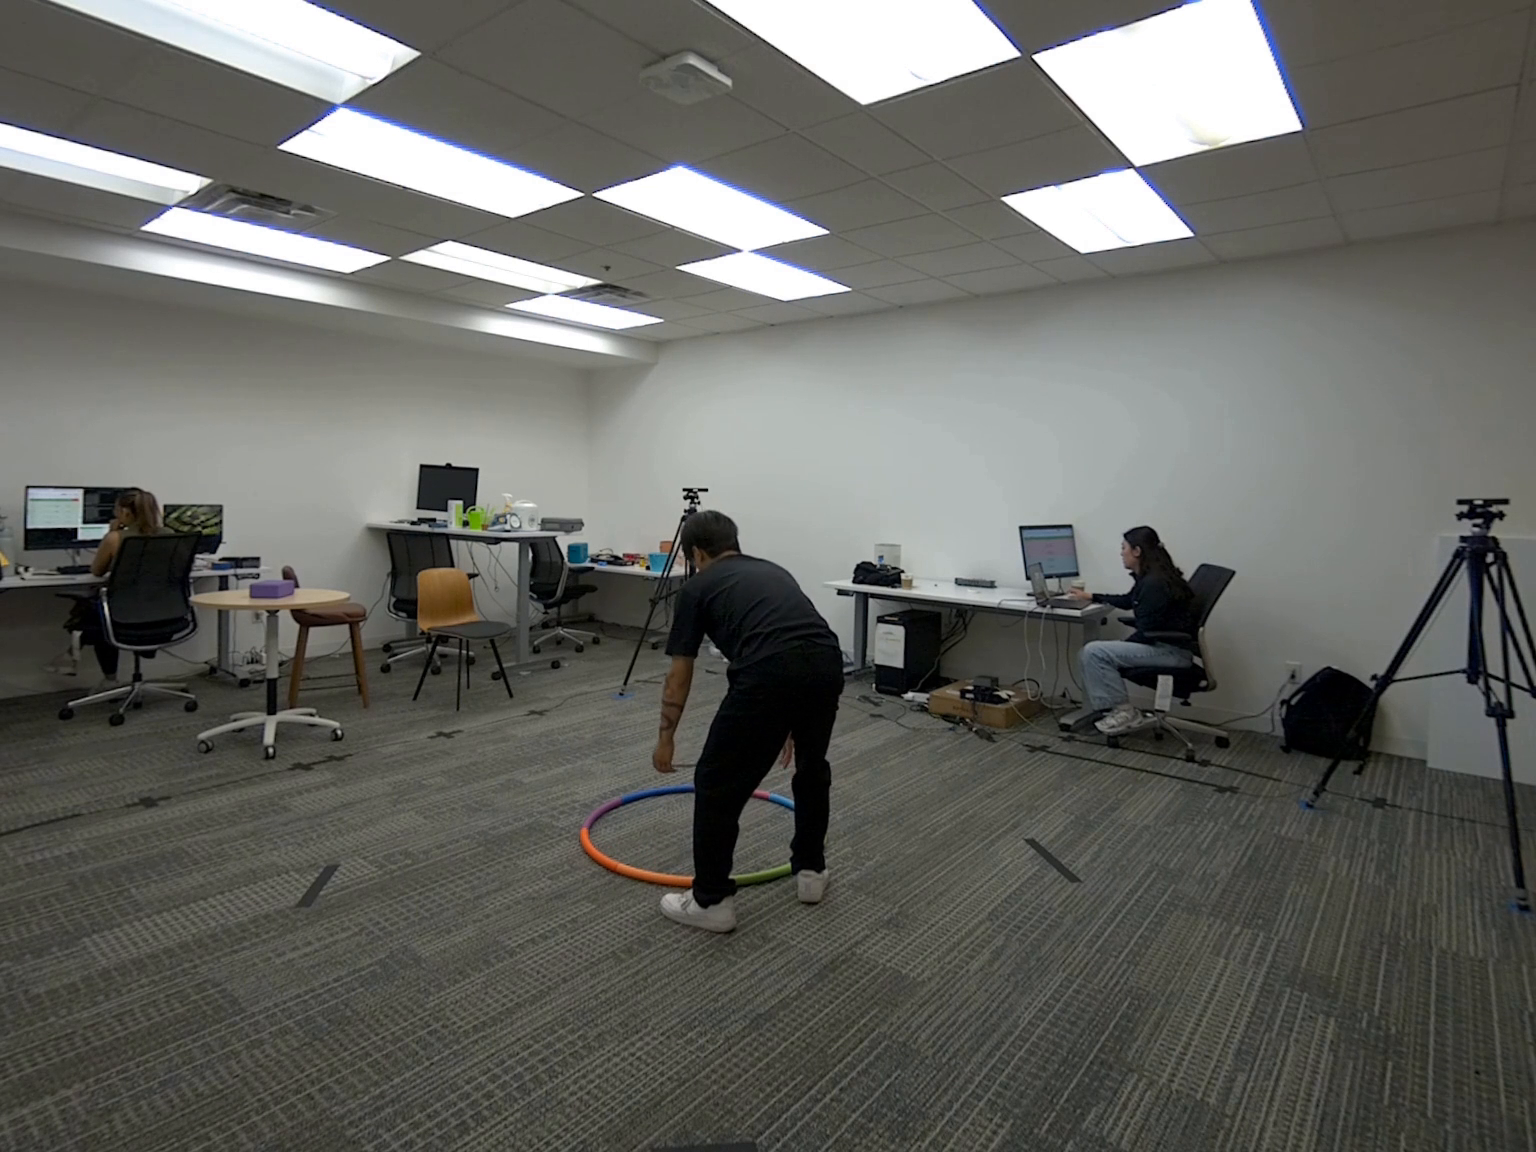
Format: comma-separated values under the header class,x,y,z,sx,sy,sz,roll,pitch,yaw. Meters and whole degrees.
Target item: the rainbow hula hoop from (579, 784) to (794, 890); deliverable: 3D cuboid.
class,x,y,z,sx,sy,sz,roll,pitch,yaw
rainbow hula hoop,-0.272,1.008,3.435,0.978,0.035,0.984,1,6,-2
